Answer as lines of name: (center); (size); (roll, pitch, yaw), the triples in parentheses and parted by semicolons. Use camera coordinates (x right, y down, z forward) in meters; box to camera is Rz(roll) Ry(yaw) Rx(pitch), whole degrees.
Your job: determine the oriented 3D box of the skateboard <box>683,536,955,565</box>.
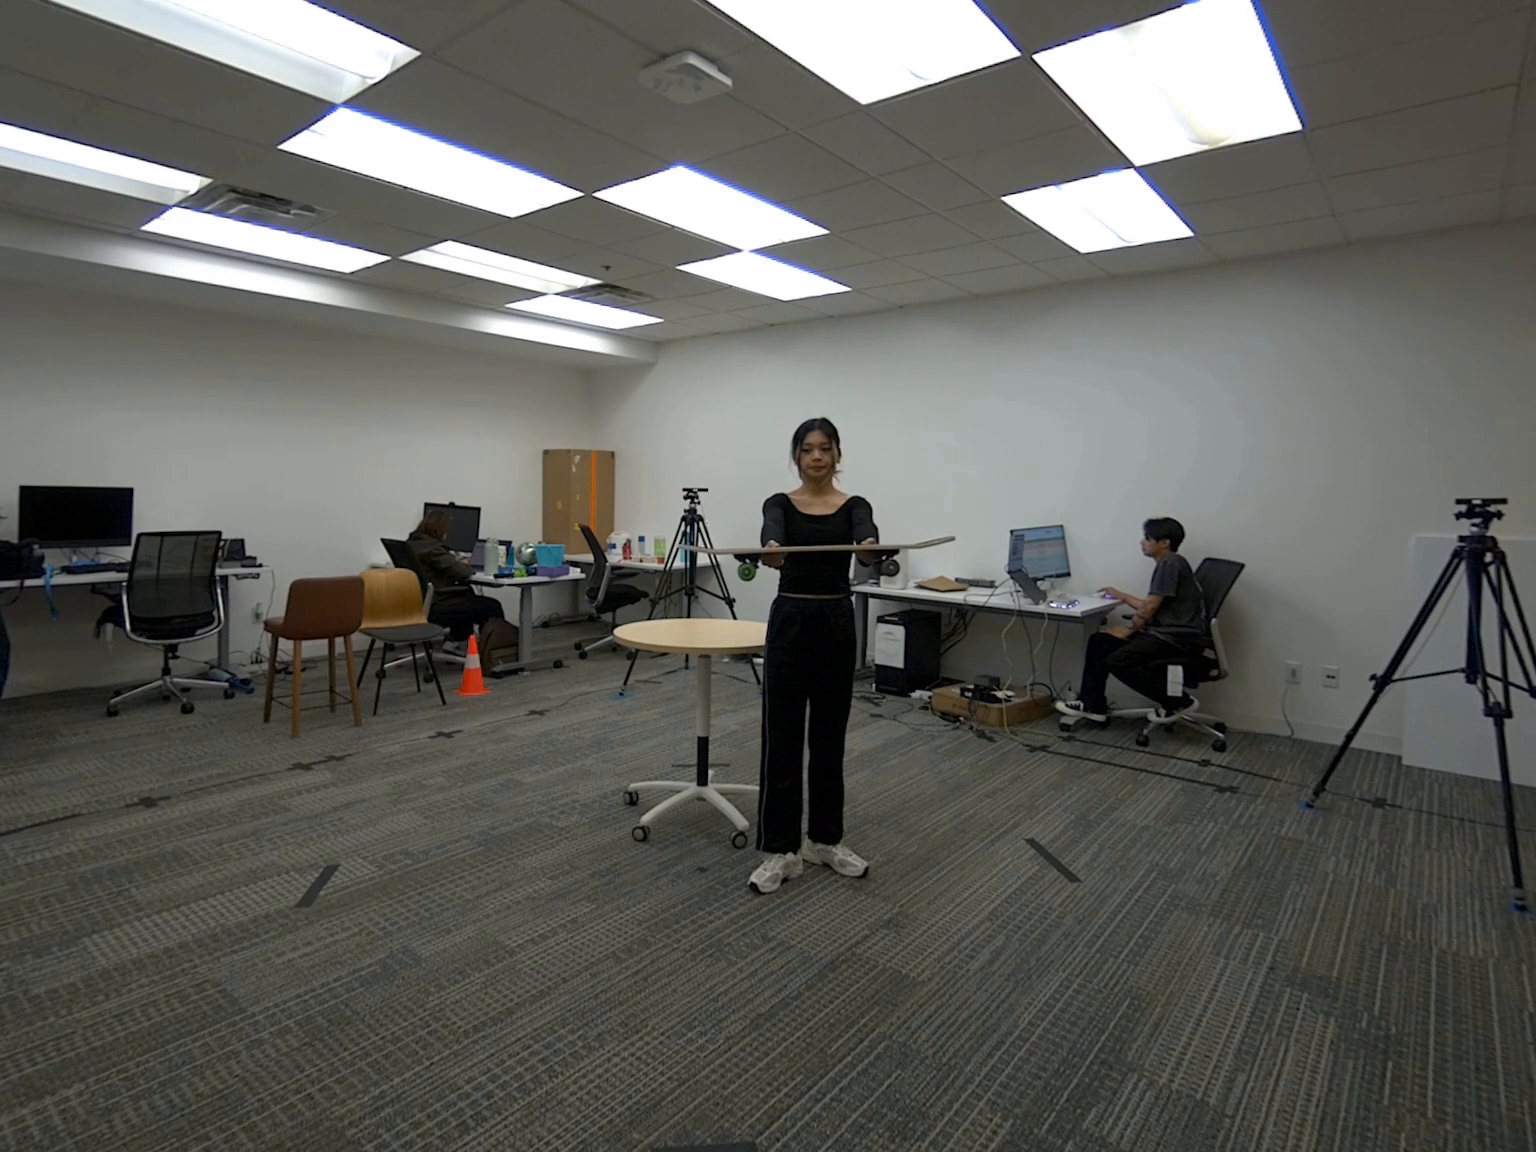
skateboard: (0.125, -0.049, 2.433); (0.788, 0.110, 0.193); (-1, 3, 3)
